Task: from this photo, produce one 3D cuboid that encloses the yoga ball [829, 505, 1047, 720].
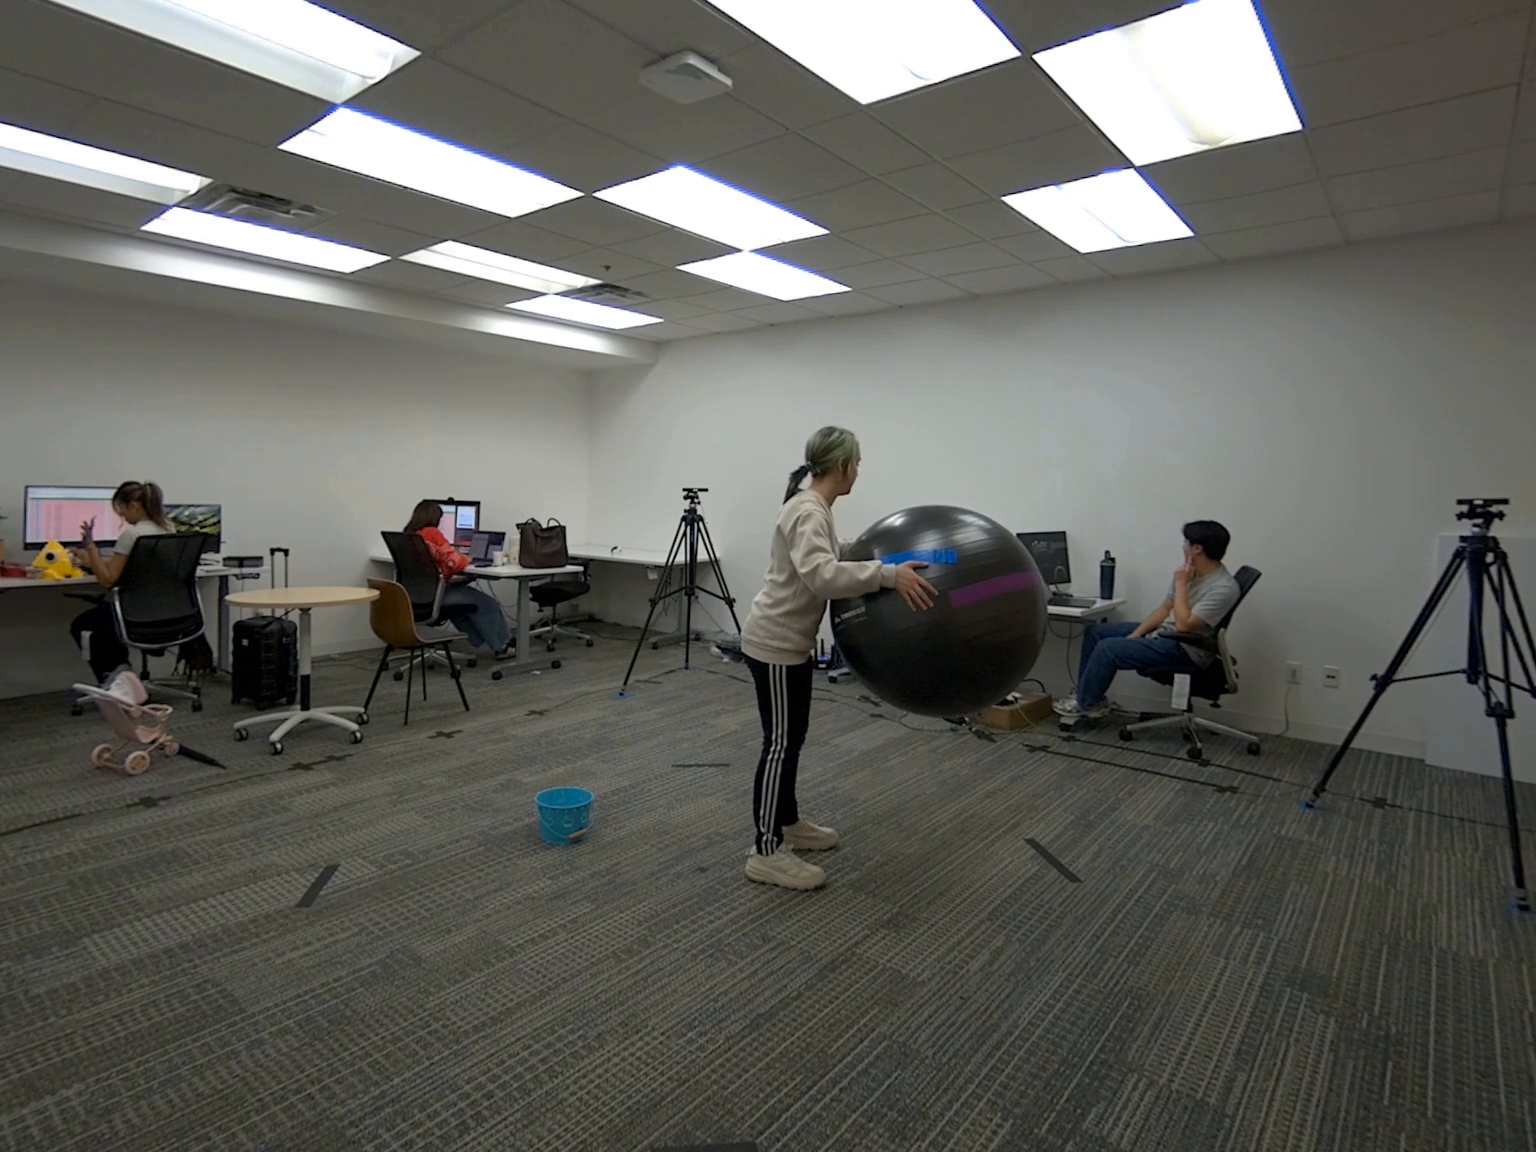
[{"bbox_3d":[0.596,0.139,3.062,0.757,0.755,0.762,1,4,-2],"label":"yoga ball"}]
